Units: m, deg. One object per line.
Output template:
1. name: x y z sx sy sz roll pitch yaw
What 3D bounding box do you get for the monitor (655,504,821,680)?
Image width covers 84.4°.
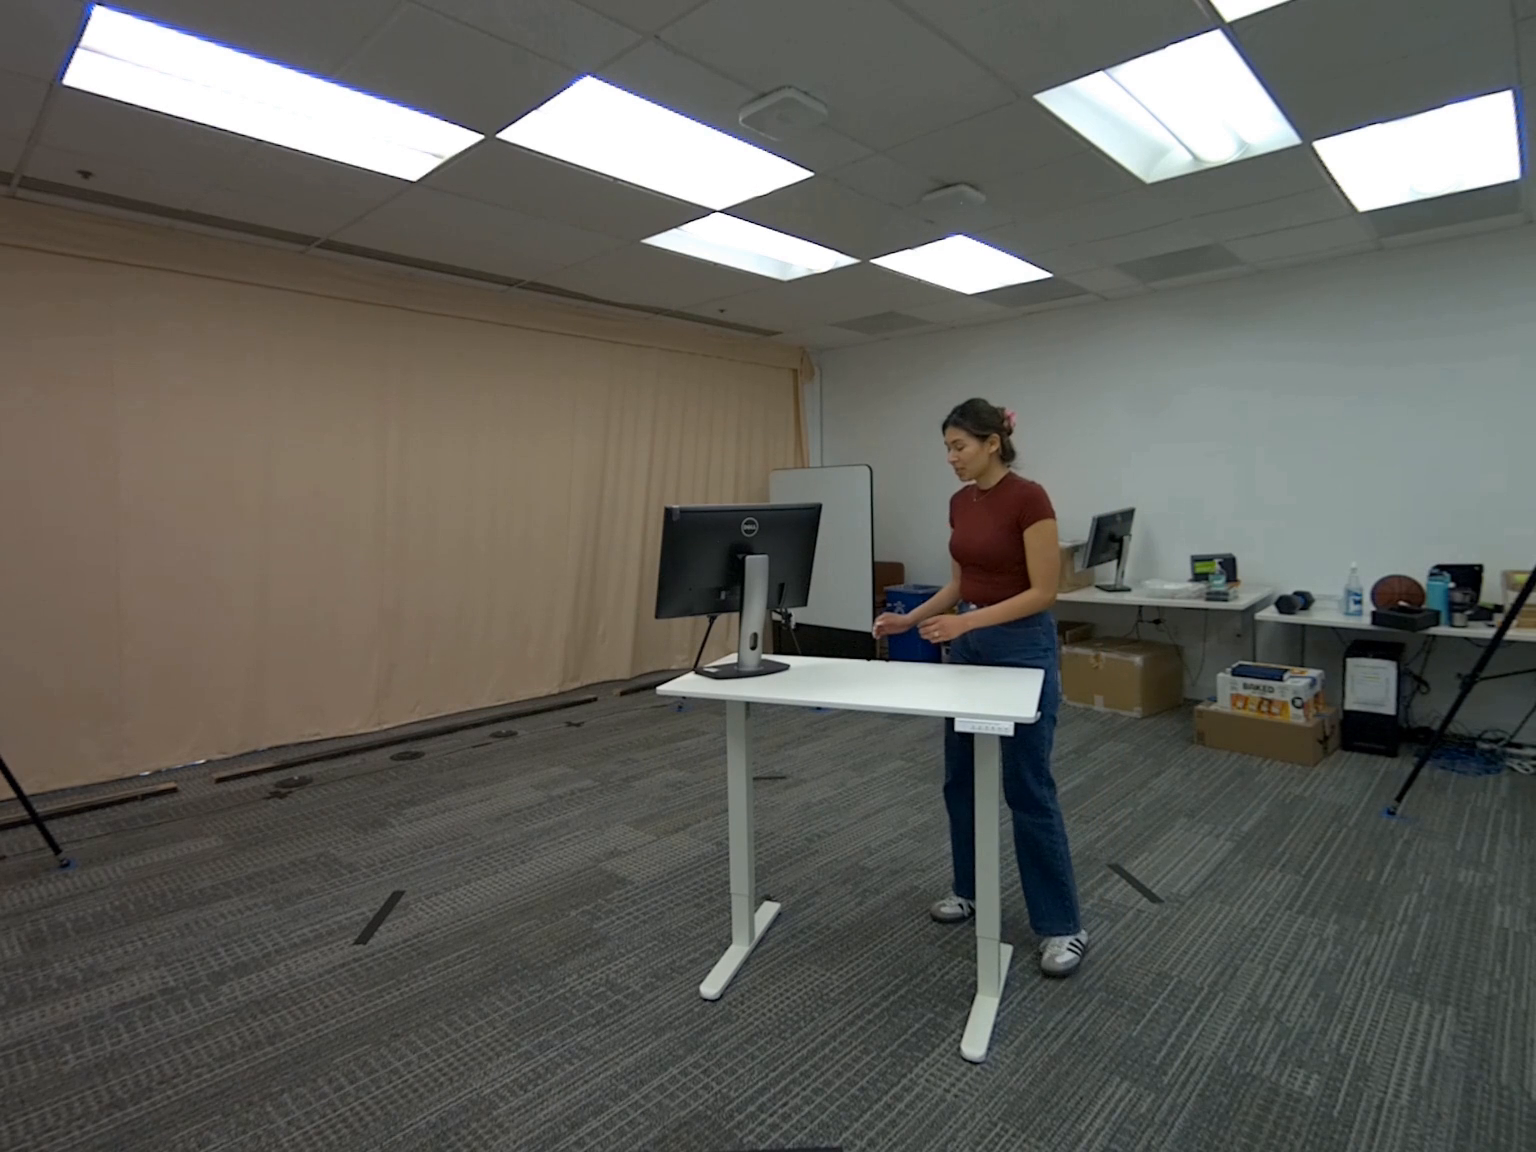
1. monitor: -0.067 0.043 2.573 0.525 0.521 0.192 -3 7 -28
